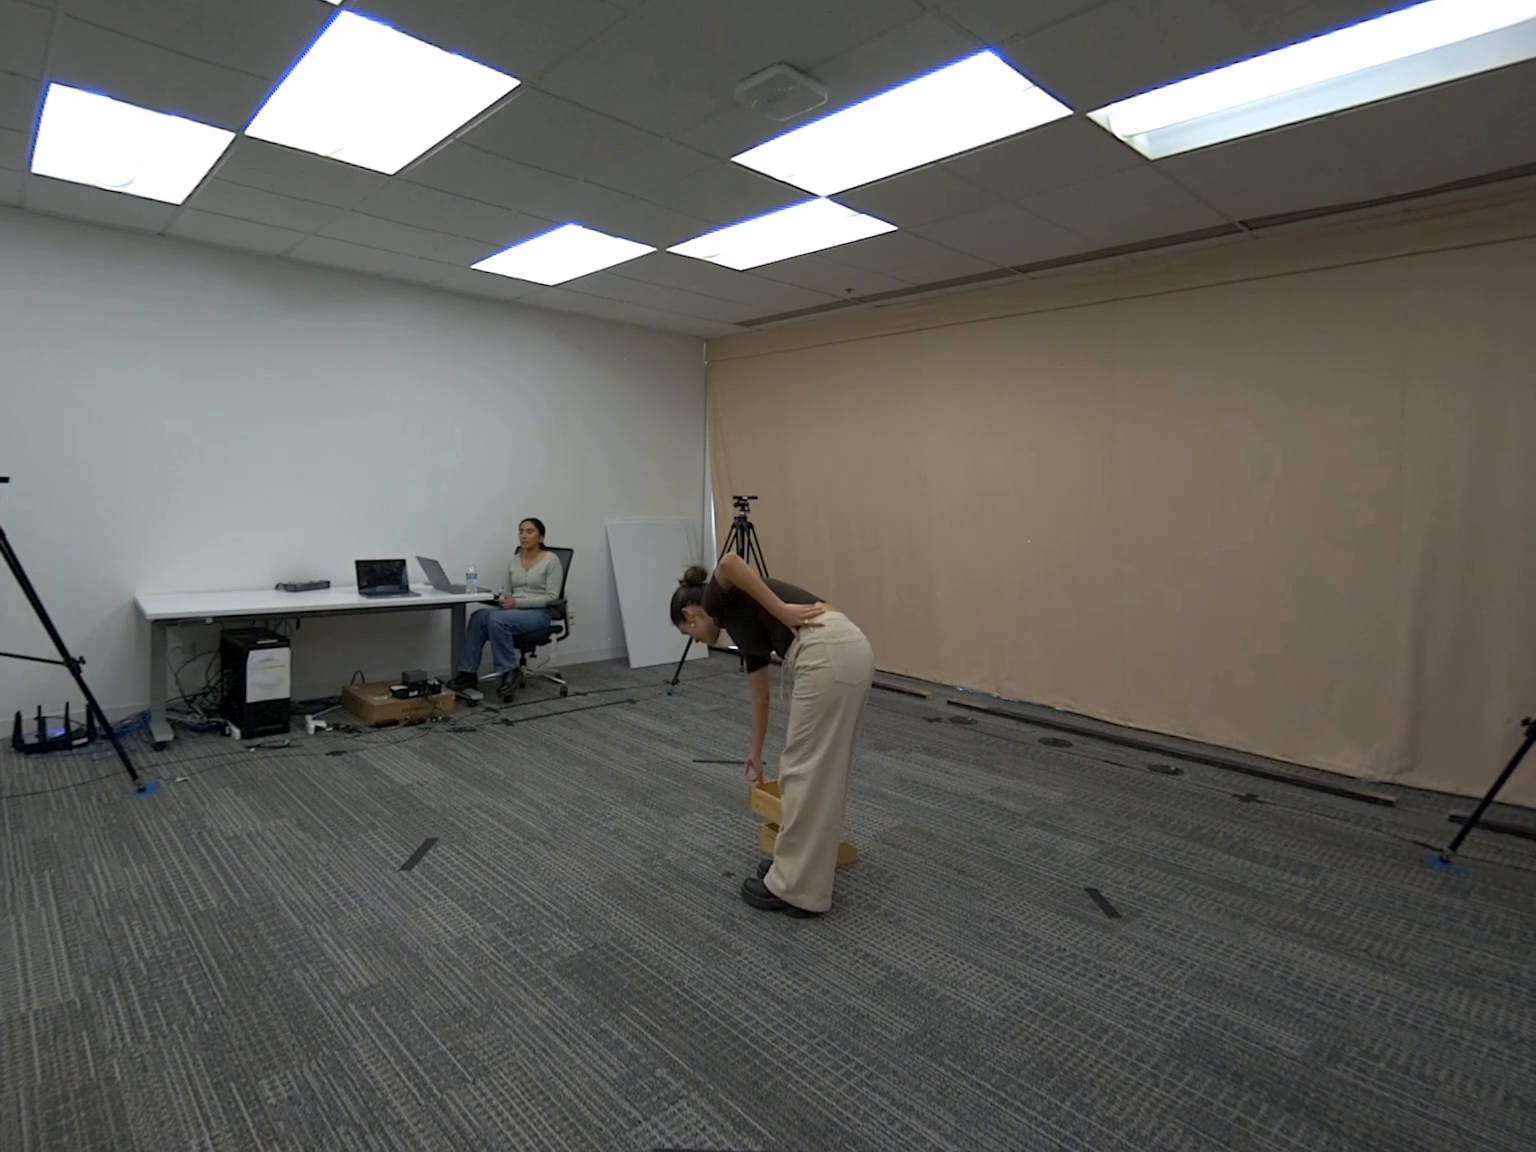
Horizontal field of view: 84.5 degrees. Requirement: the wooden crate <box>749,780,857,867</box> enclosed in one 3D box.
[{"bbox_3d":[0.130,0.958,3.281,0.296,0.272,0.332,-3,6,-35],"label":"wooden crate"}]
